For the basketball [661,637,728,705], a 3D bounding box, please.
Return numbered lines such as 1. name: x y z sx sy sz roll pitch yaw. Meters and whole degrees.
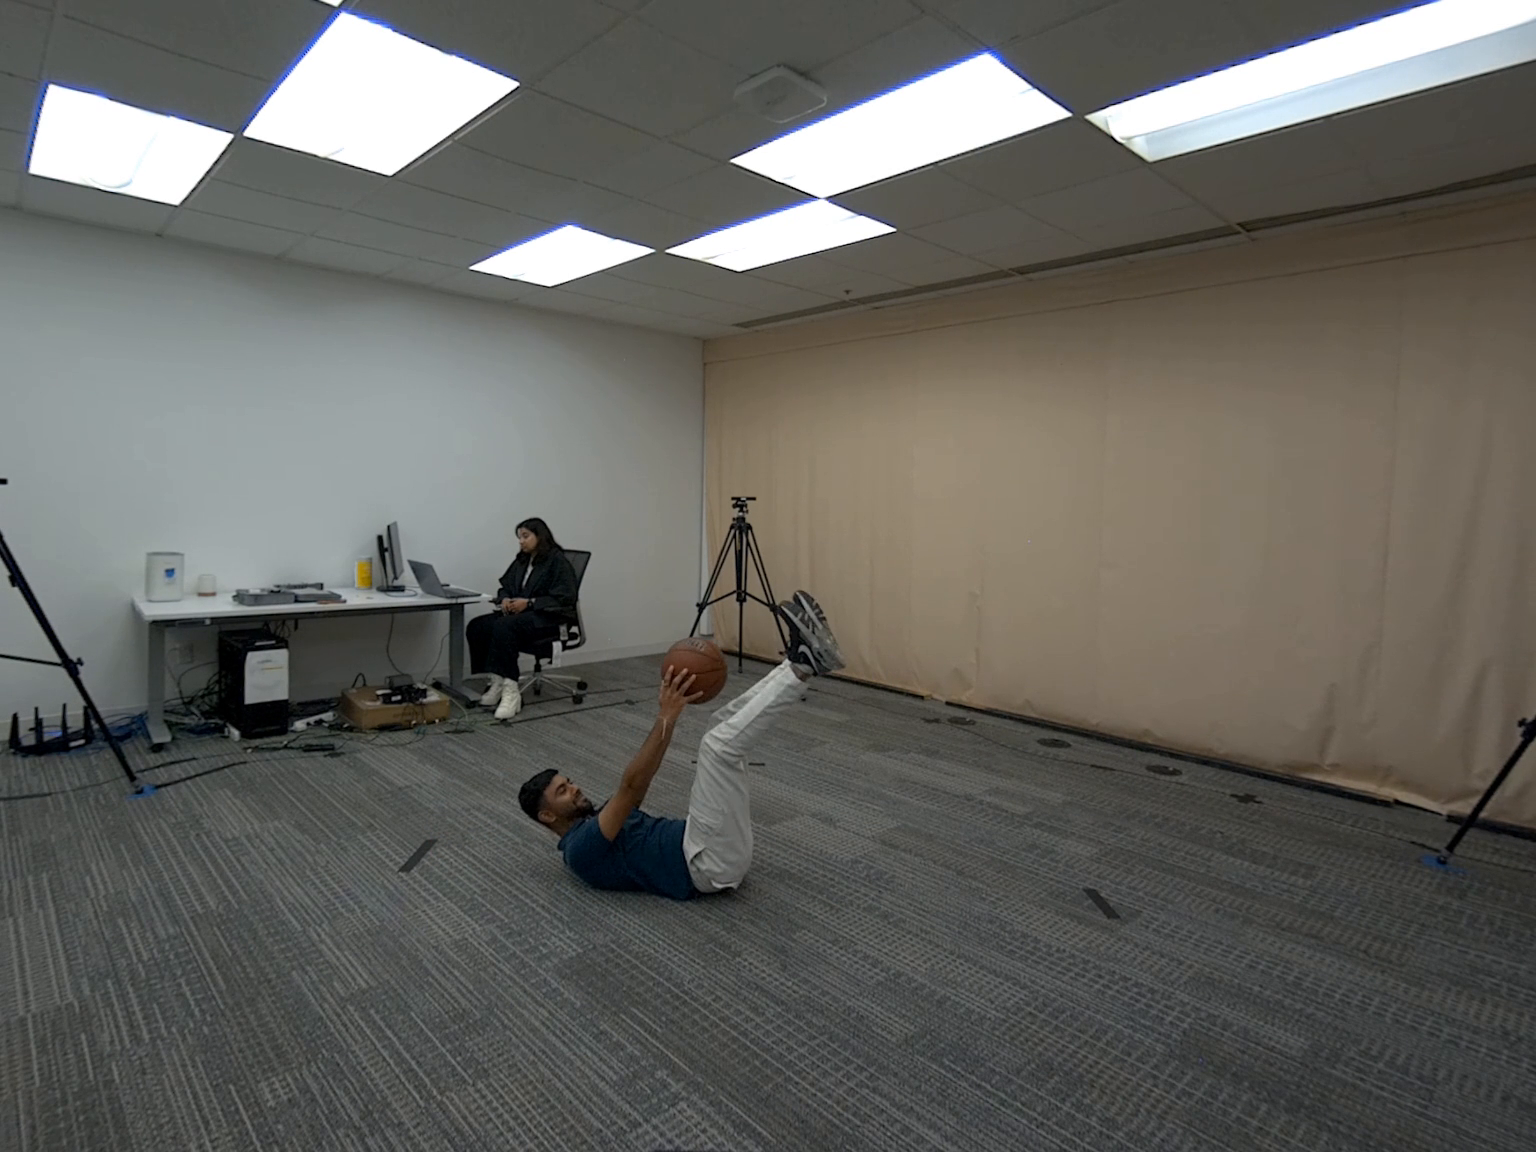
1. basketball: -0.276 0.338 2.999 0.236 0.235 0.237 1 4 -1
